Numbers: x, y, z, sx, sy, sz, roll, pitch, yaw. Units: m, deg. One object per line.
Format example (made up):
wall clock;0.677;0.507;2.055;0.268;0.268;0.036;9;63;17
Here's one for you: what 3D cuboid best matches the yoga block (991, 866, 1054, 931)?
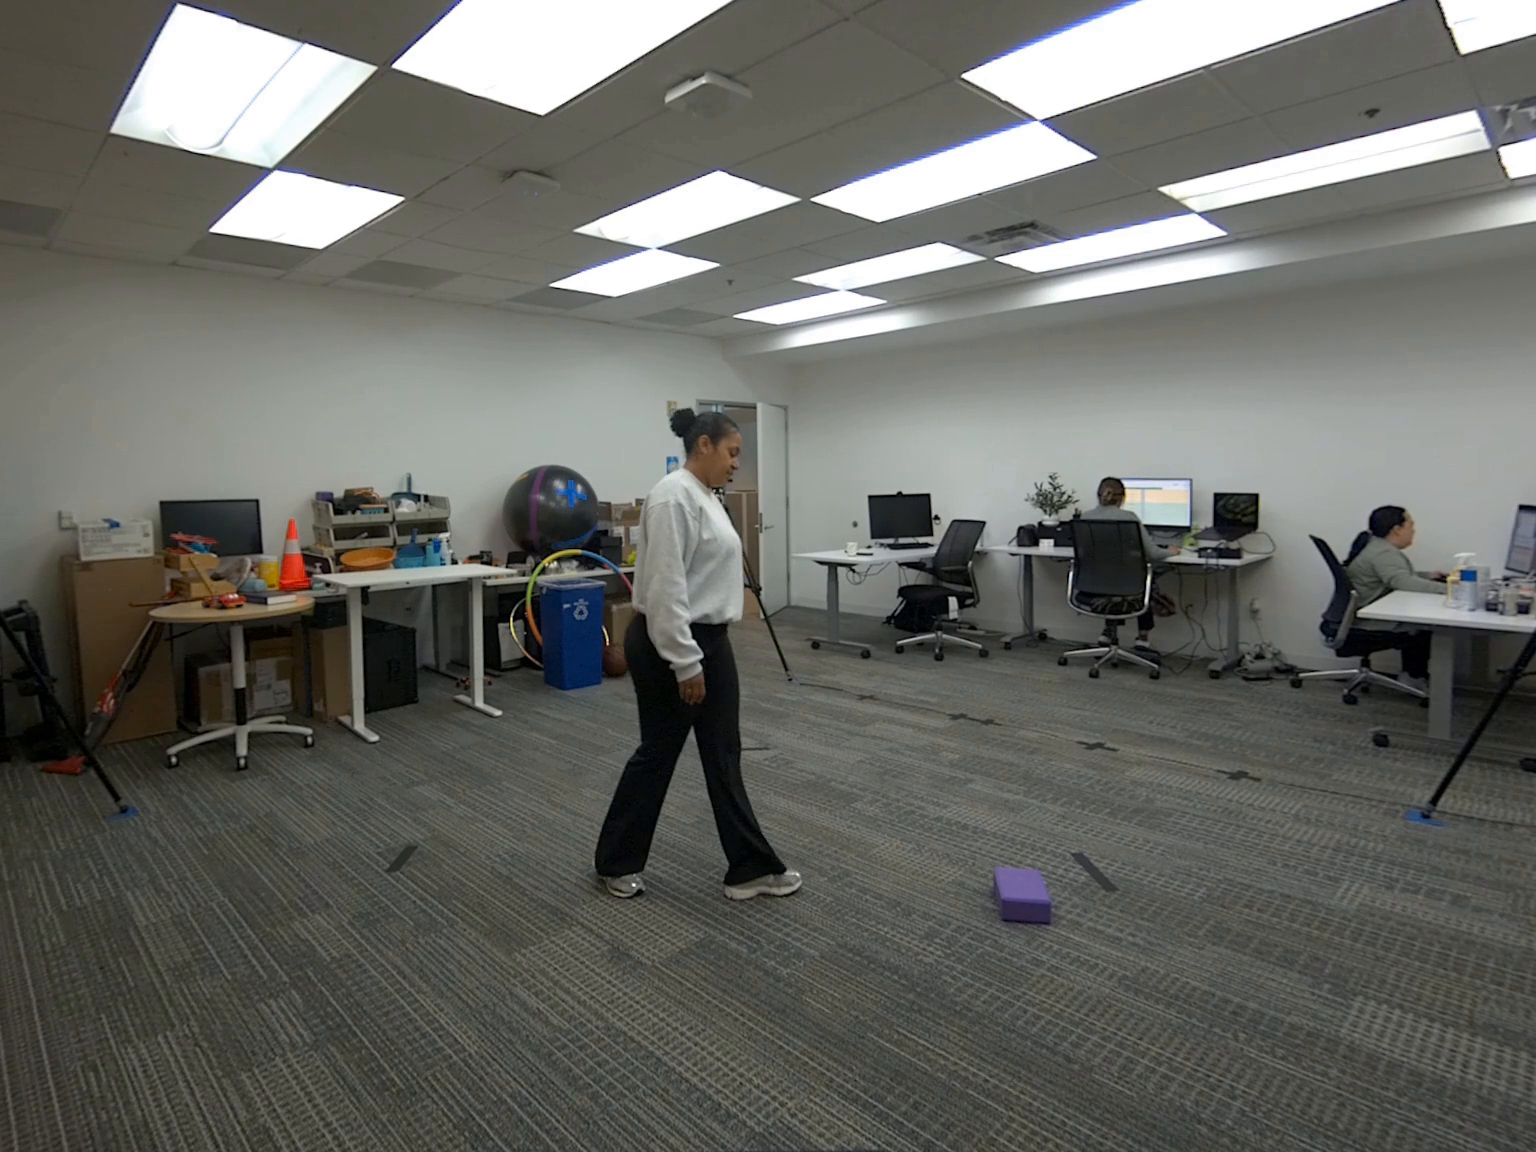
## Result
yoga block;0.817;1.024;2.761;0.150;0.076;0.228;-1;6;9
